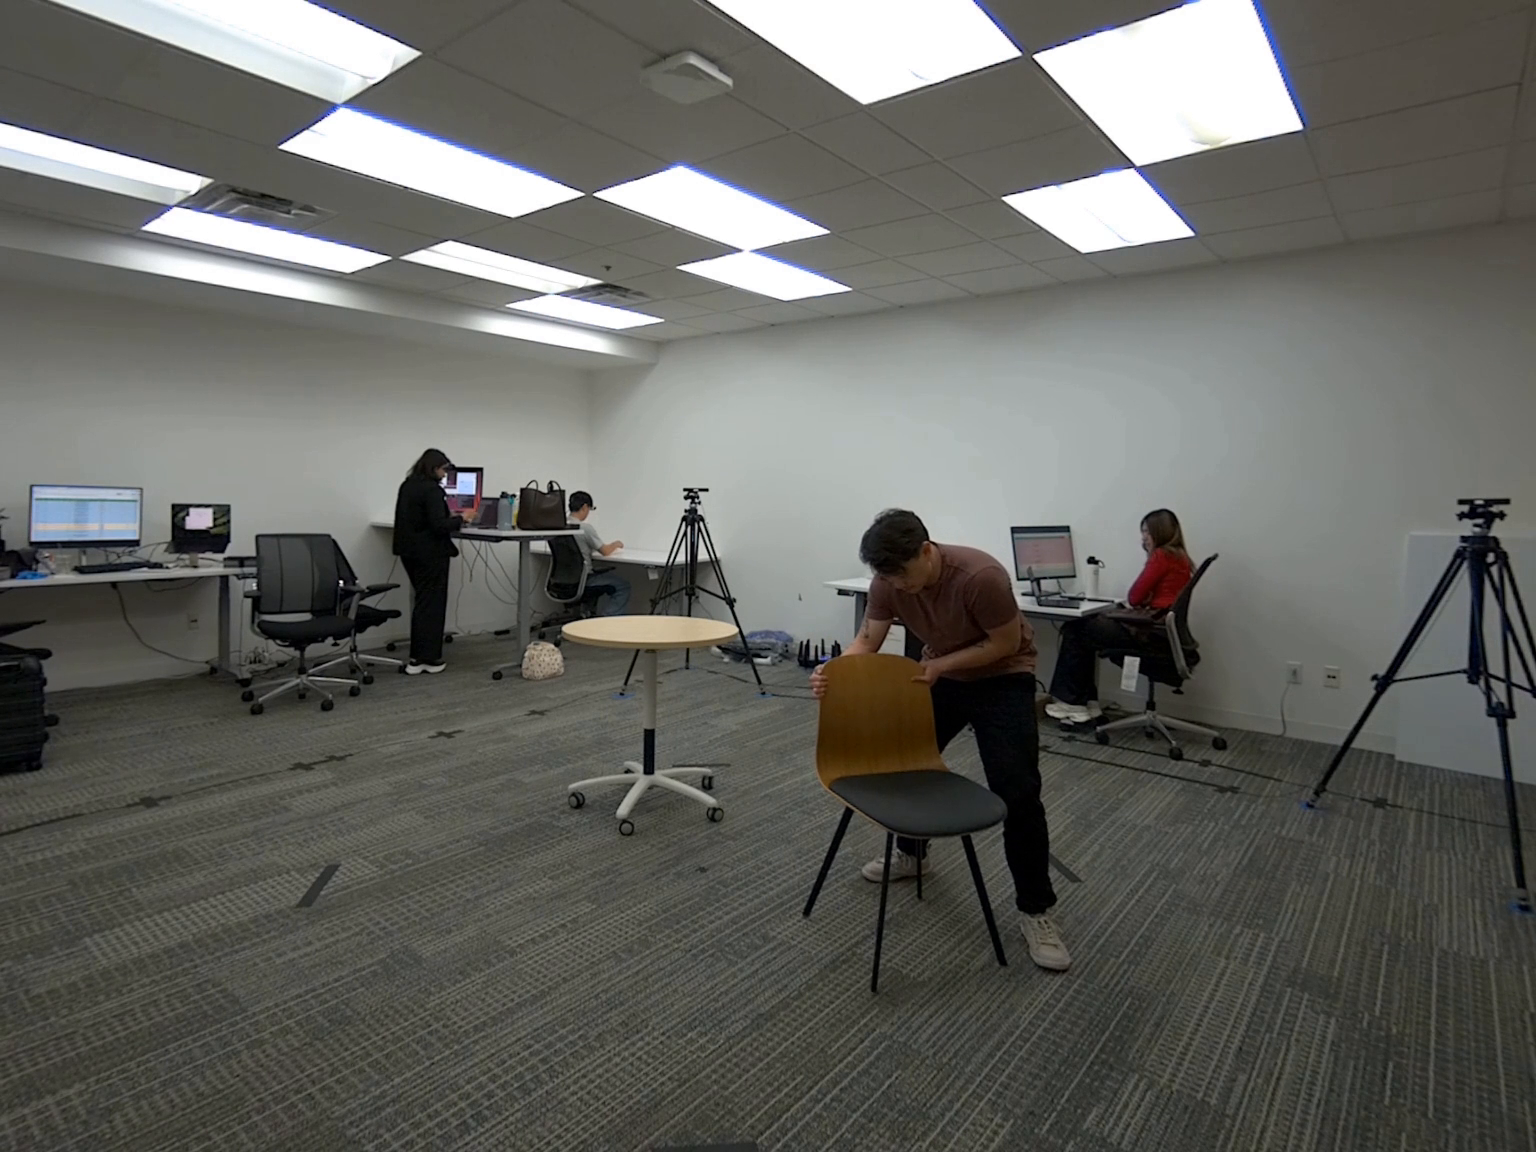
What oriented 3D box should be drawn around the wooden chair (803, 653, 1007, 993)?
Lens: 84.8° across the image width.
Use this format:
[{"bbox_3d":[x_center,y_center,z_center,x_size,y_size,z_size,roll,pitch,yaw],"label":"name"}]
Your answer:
[{"bbox_3d":[0.414,0.704,2.611,0.468,0.878,0.534,0,0,-22],"label":"wooden chair"}]
